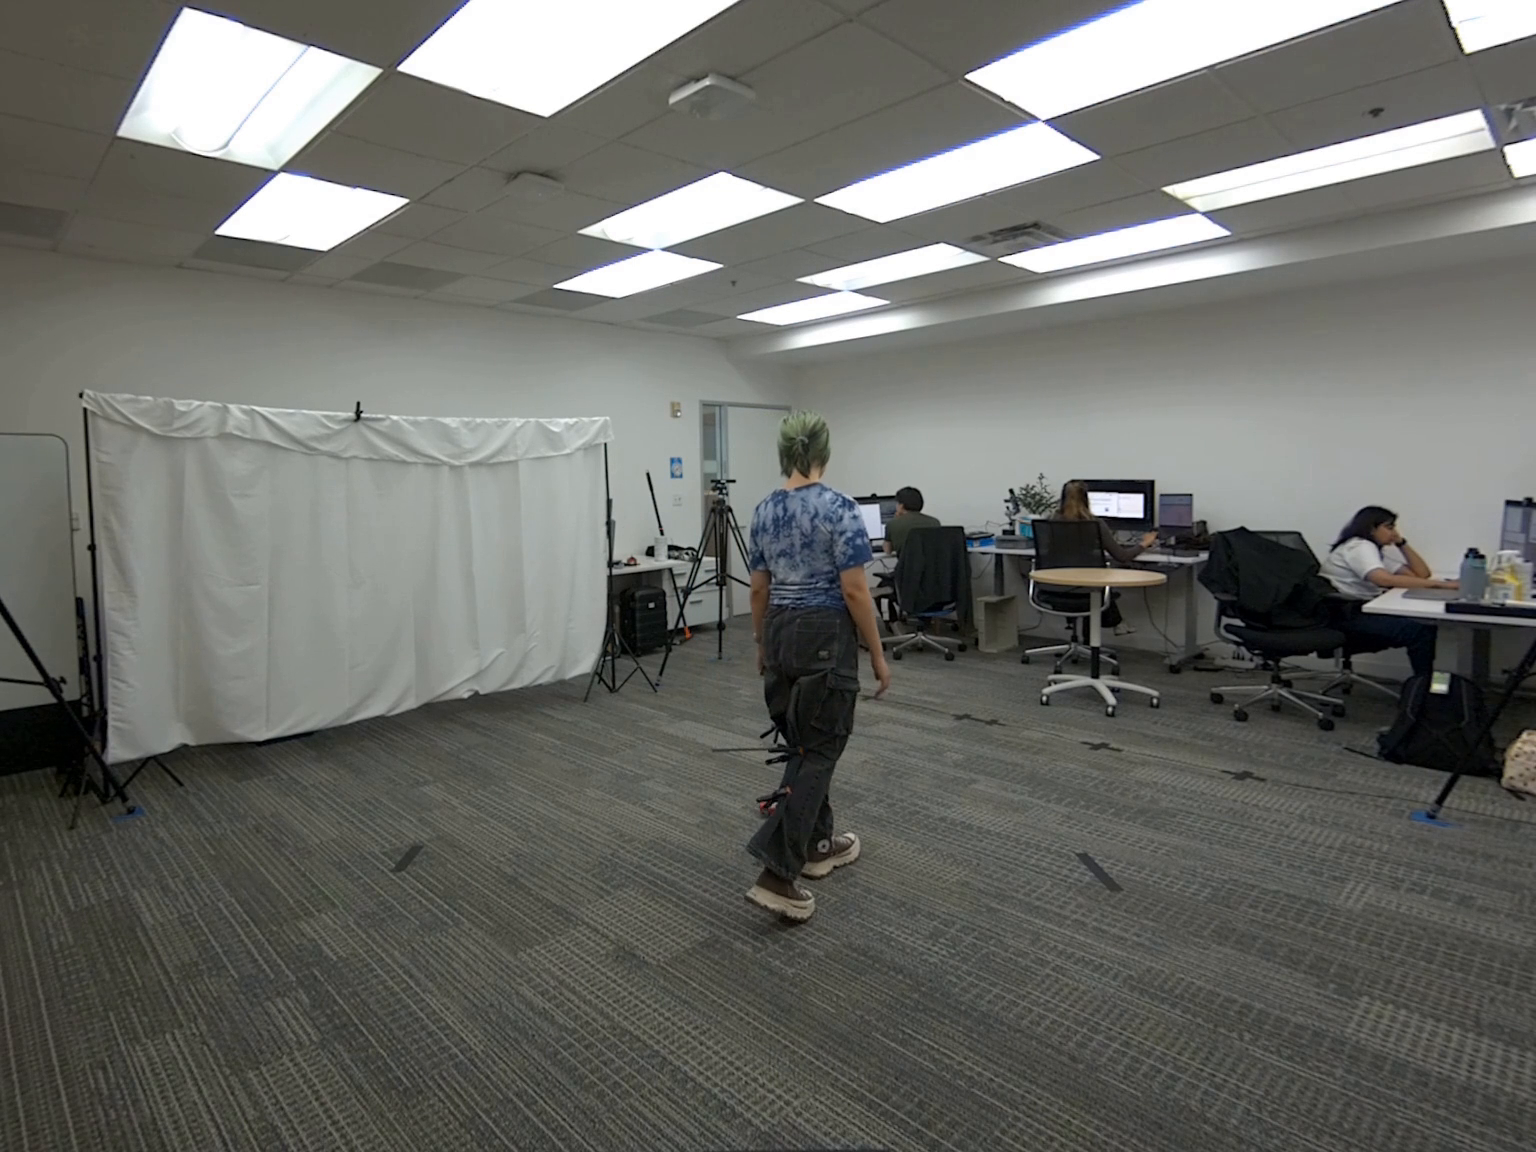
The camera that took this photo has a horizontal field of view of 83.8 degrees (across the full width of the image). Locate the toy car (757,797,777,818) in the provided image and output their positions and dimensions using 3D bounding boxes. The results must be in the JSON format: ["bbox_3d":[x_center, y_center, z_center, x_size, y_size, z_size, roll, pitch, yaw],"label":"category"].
[{"bbox_3d":[0.099,0.968,3.530,0.260,0.083,0.127,-9,-1,28],"label":"toy car"}]
